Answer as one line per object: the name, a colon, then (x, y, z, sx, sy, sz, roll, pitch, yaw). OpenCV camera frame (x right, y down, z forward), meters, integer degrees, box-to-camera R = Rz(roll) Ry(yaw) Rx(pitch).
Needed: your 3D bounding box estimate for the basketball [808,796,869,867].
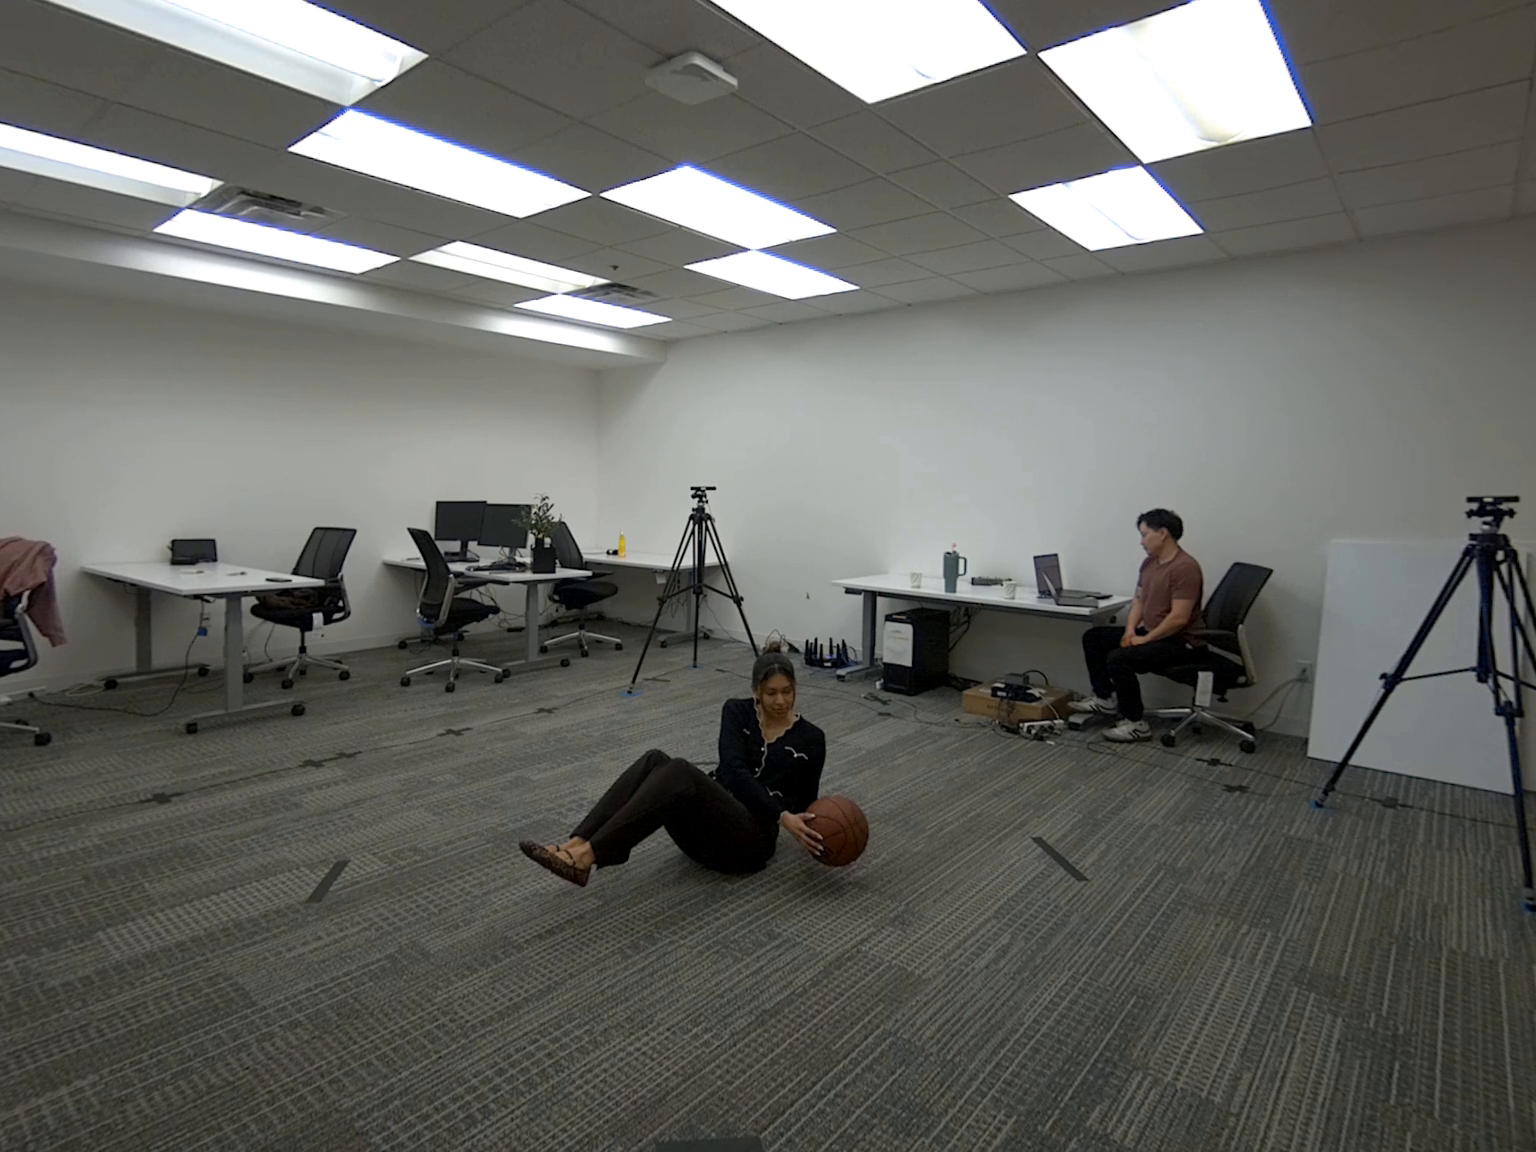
basketball: (0.222, 0.876, 2.972, 0.235, 0.235, 0.237, 1, 4, -2)
